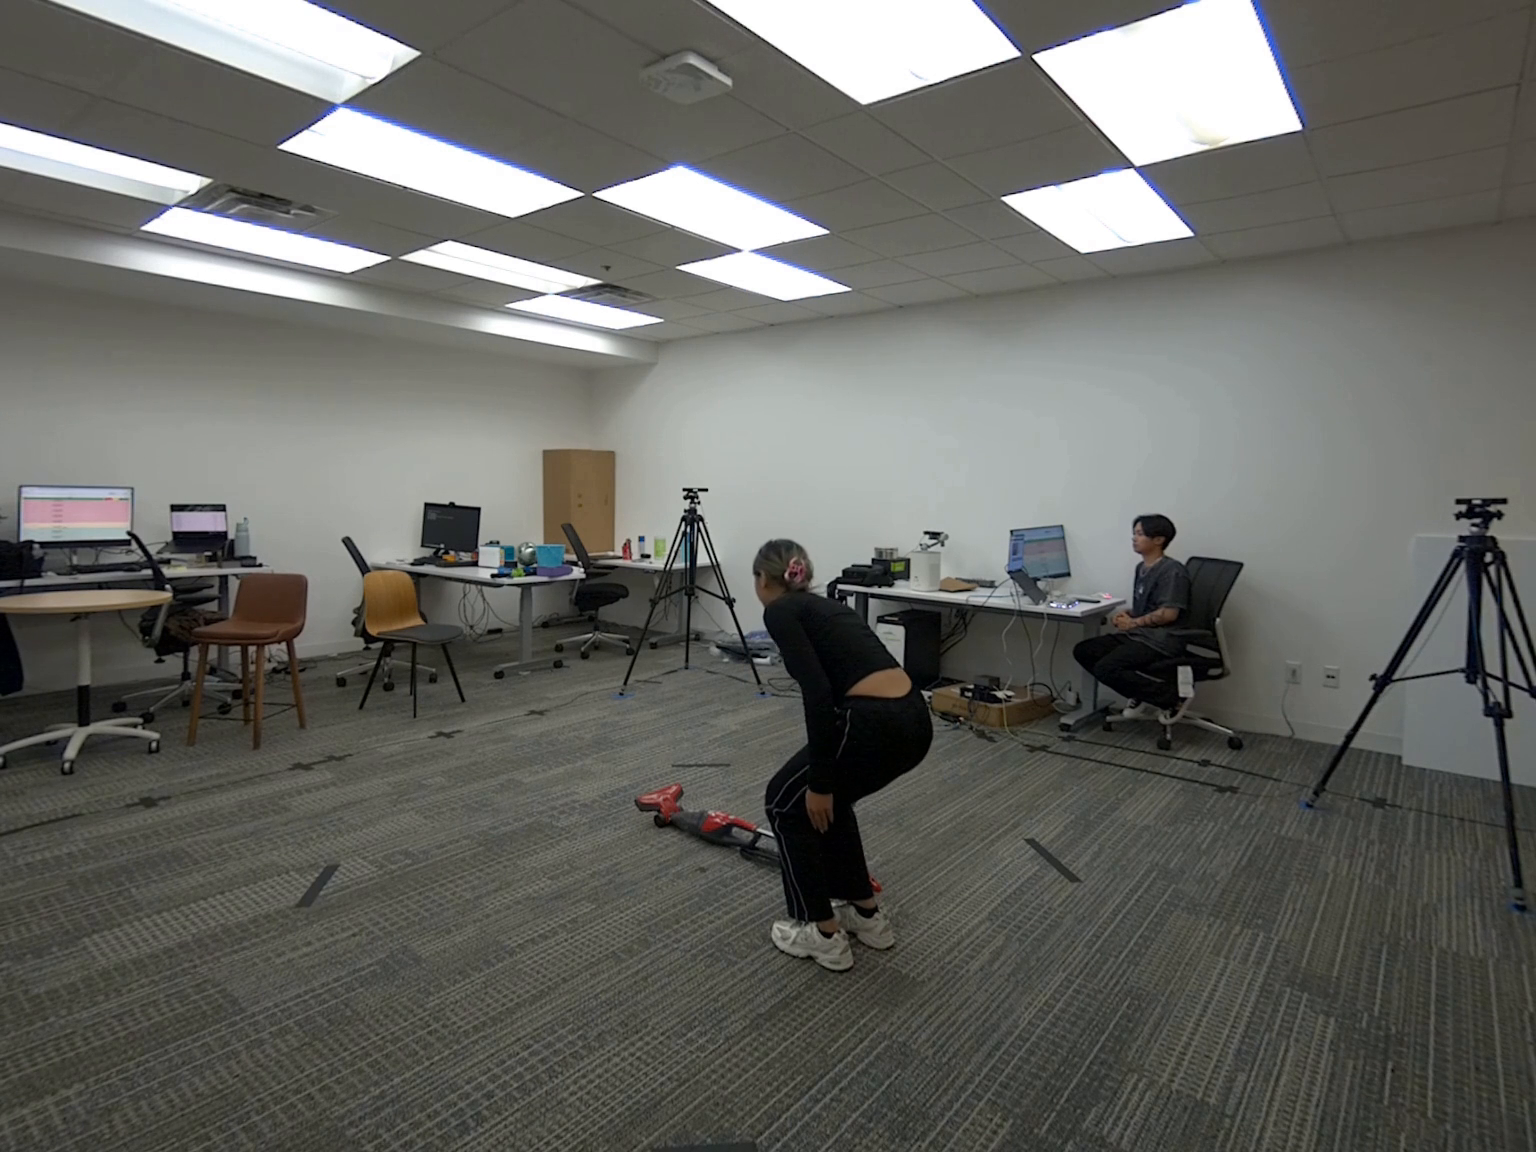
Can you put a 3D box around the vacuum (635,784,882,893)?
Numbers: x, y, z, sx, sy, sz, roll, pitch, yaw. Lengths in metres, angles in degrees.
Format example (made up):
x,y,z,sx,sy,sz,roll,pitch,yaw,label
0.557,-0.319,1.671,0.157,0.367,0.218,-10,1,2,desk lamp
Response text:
x,y,z,sx,sy,sz,roll,pitch,yaw,label
-0.058,1.008,3.211,1.086,0.143,0.245,7,7,42,vacuum
